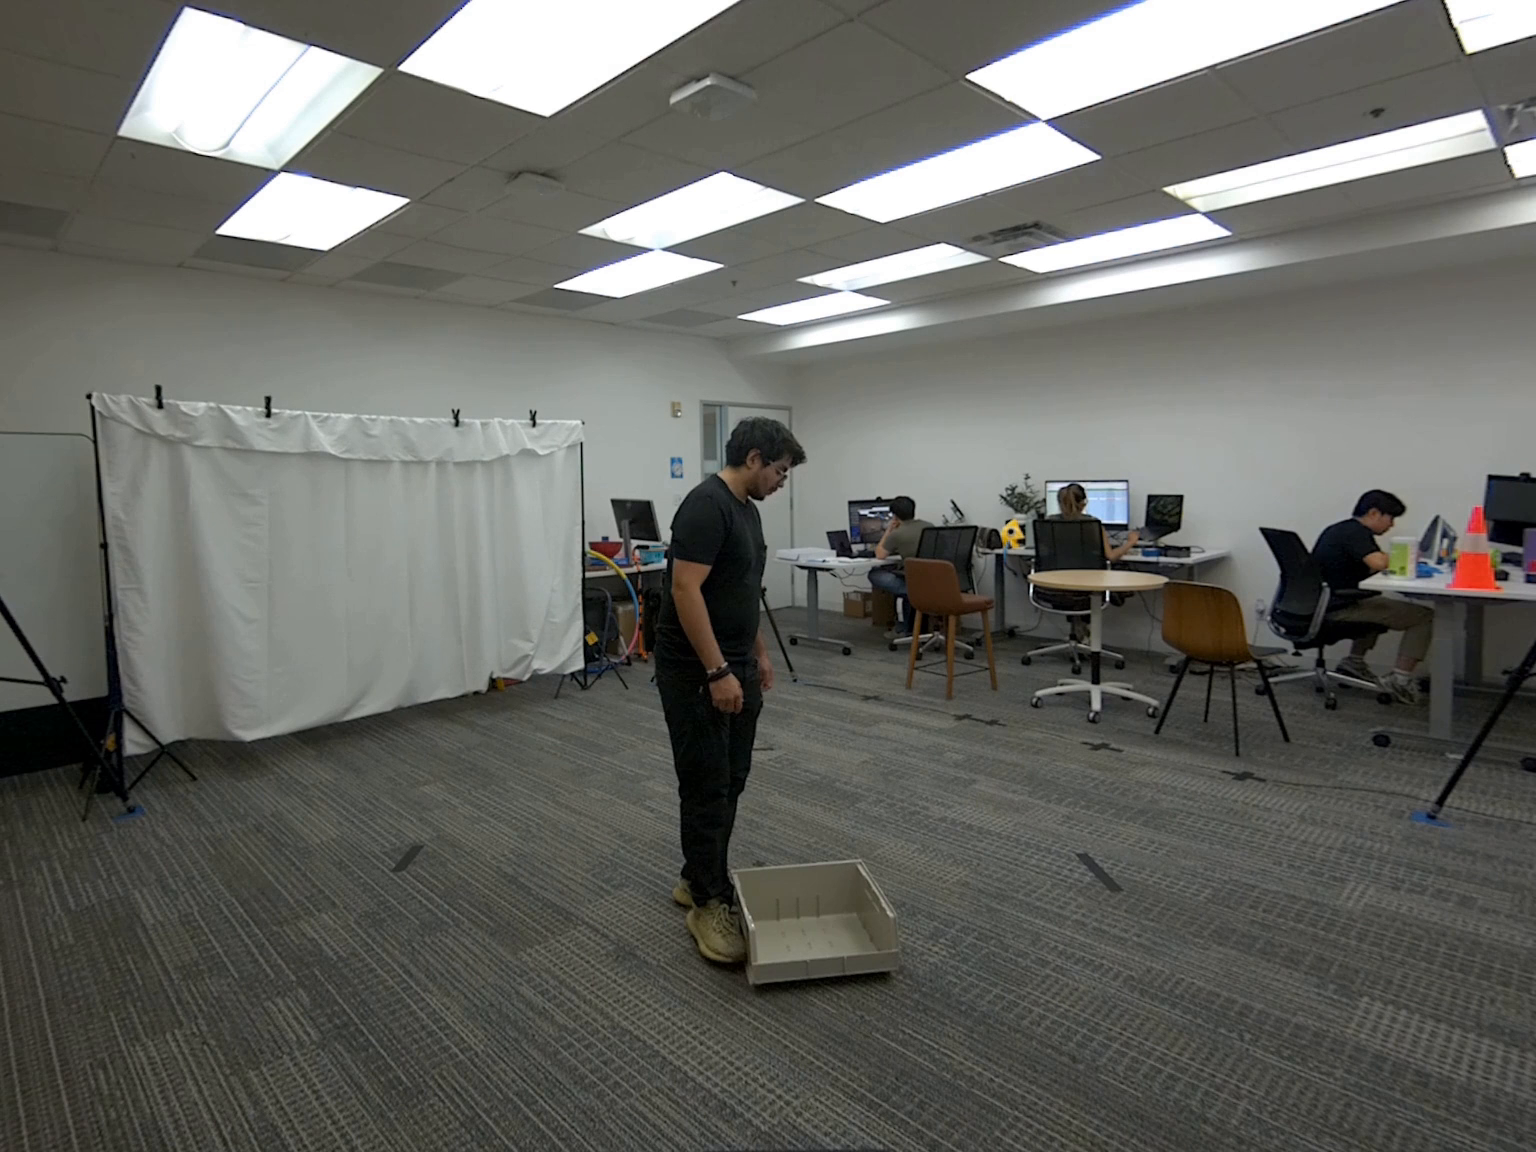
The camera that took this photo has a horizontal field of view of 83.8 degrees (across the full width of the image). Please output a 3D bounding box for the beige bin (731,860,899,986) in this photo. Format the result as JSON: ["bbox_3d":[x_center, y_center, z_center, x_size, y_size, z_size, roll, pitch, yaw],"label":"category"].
[{"bbox_3d":[0.133,1.032,2.502,0.419,0.188,0.382,-3,5,-8],"label":"beige bin"}]
